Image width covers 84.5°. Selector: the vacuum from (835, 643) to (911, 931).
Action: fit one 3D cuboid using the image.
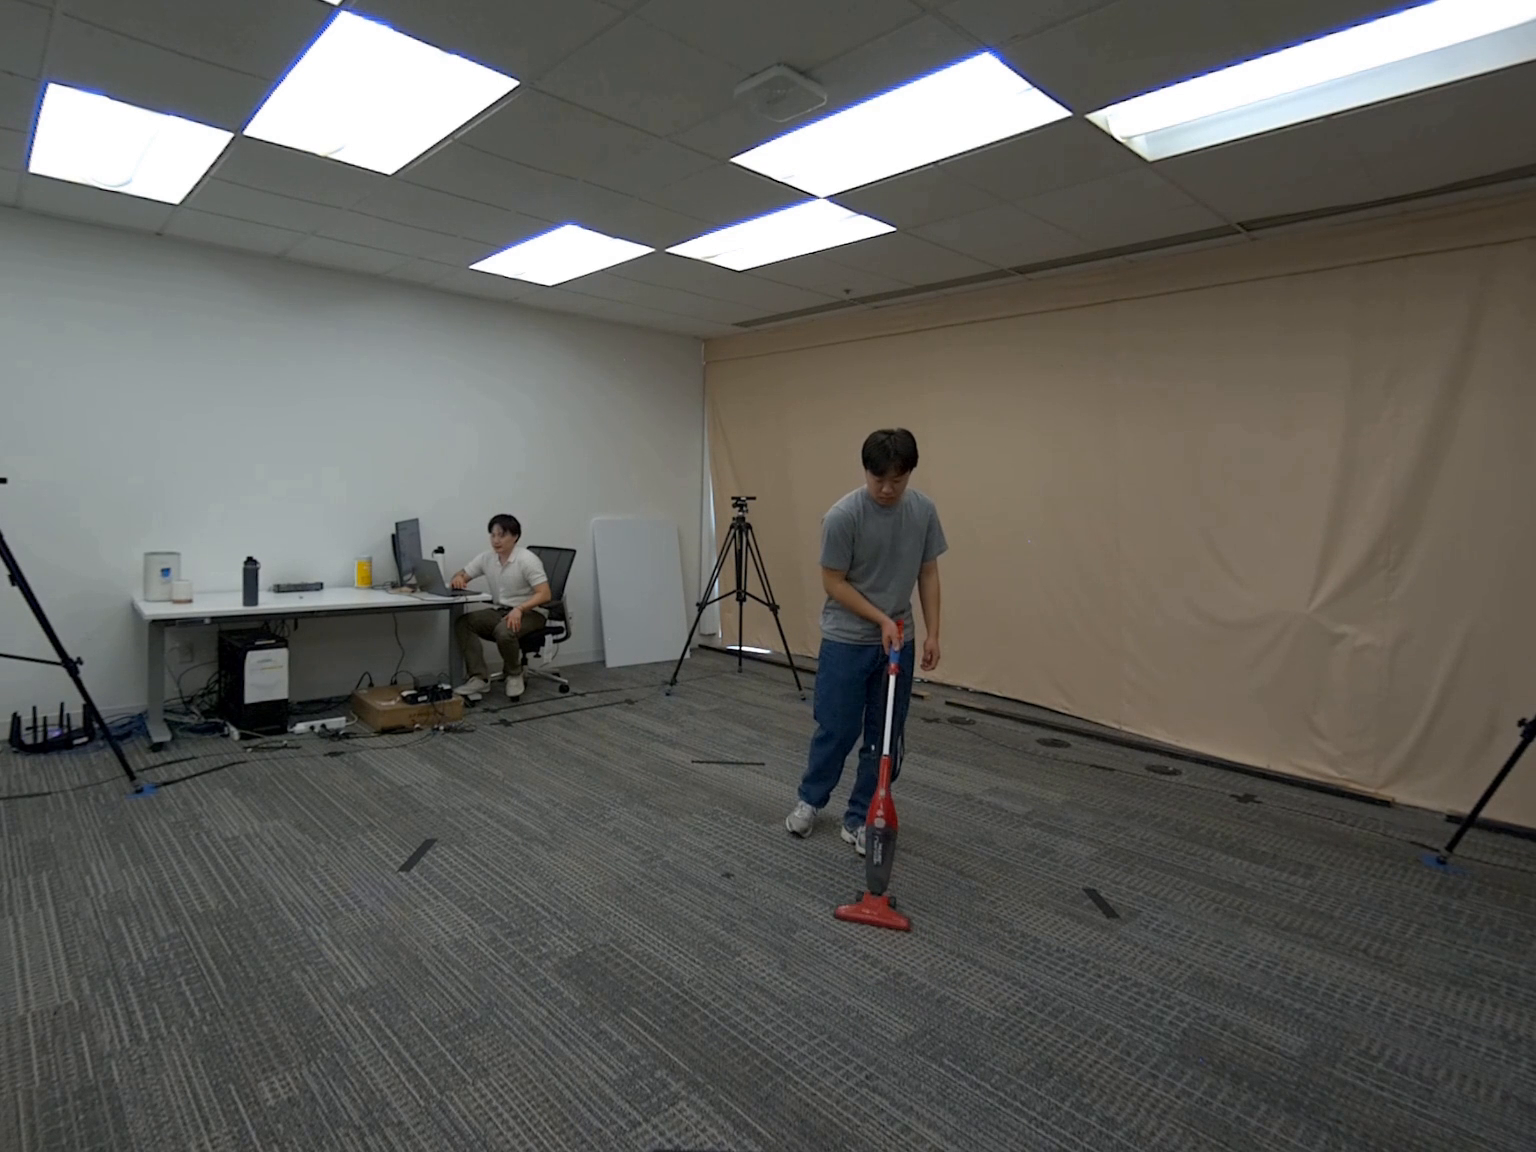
[{"bbox_3d":[0.422,0.665,3.017,0.256,1.063,0.140,2,-25,17],"label":"vacuum"}]
